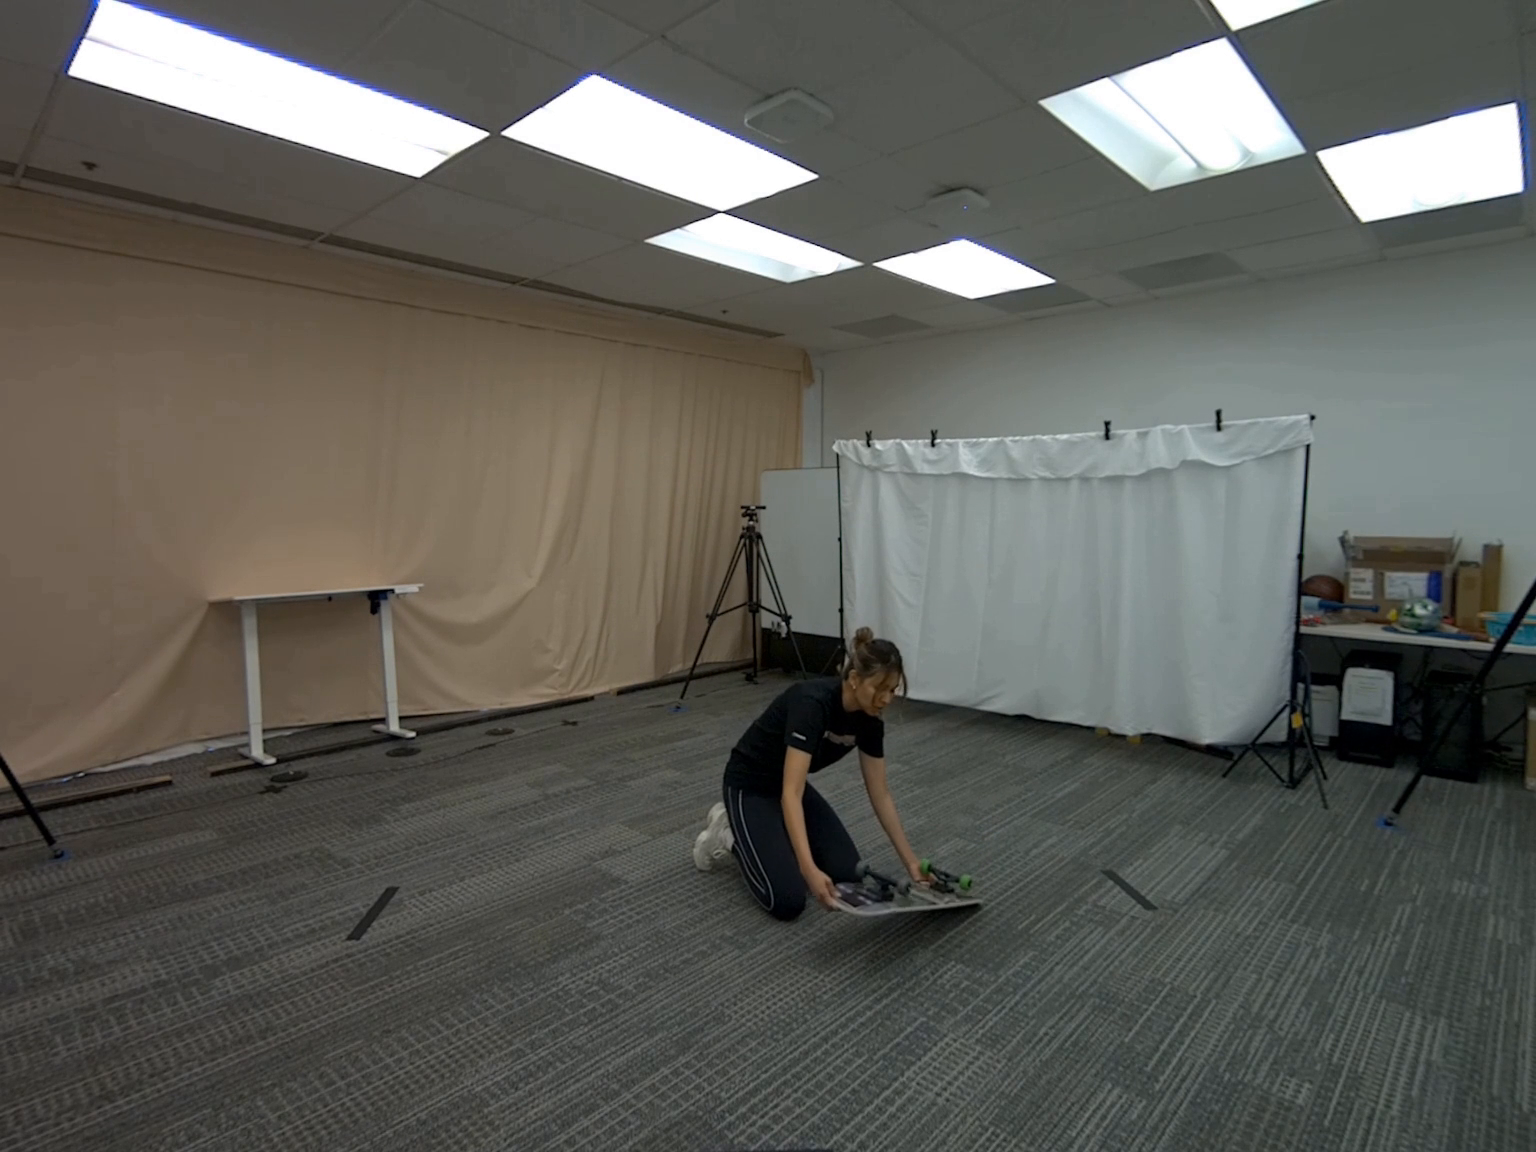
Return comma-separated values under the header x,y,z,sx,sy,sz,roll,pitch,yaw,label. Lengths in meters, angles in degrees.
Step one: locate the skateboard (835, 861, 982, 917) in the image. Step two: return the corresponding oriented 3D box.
x,y,z,sx,sy,sz,roll,pitch,yaw,label
0.482,1.007,2.726,0.200,0.110,0.757,9,-7,44,skateboard
